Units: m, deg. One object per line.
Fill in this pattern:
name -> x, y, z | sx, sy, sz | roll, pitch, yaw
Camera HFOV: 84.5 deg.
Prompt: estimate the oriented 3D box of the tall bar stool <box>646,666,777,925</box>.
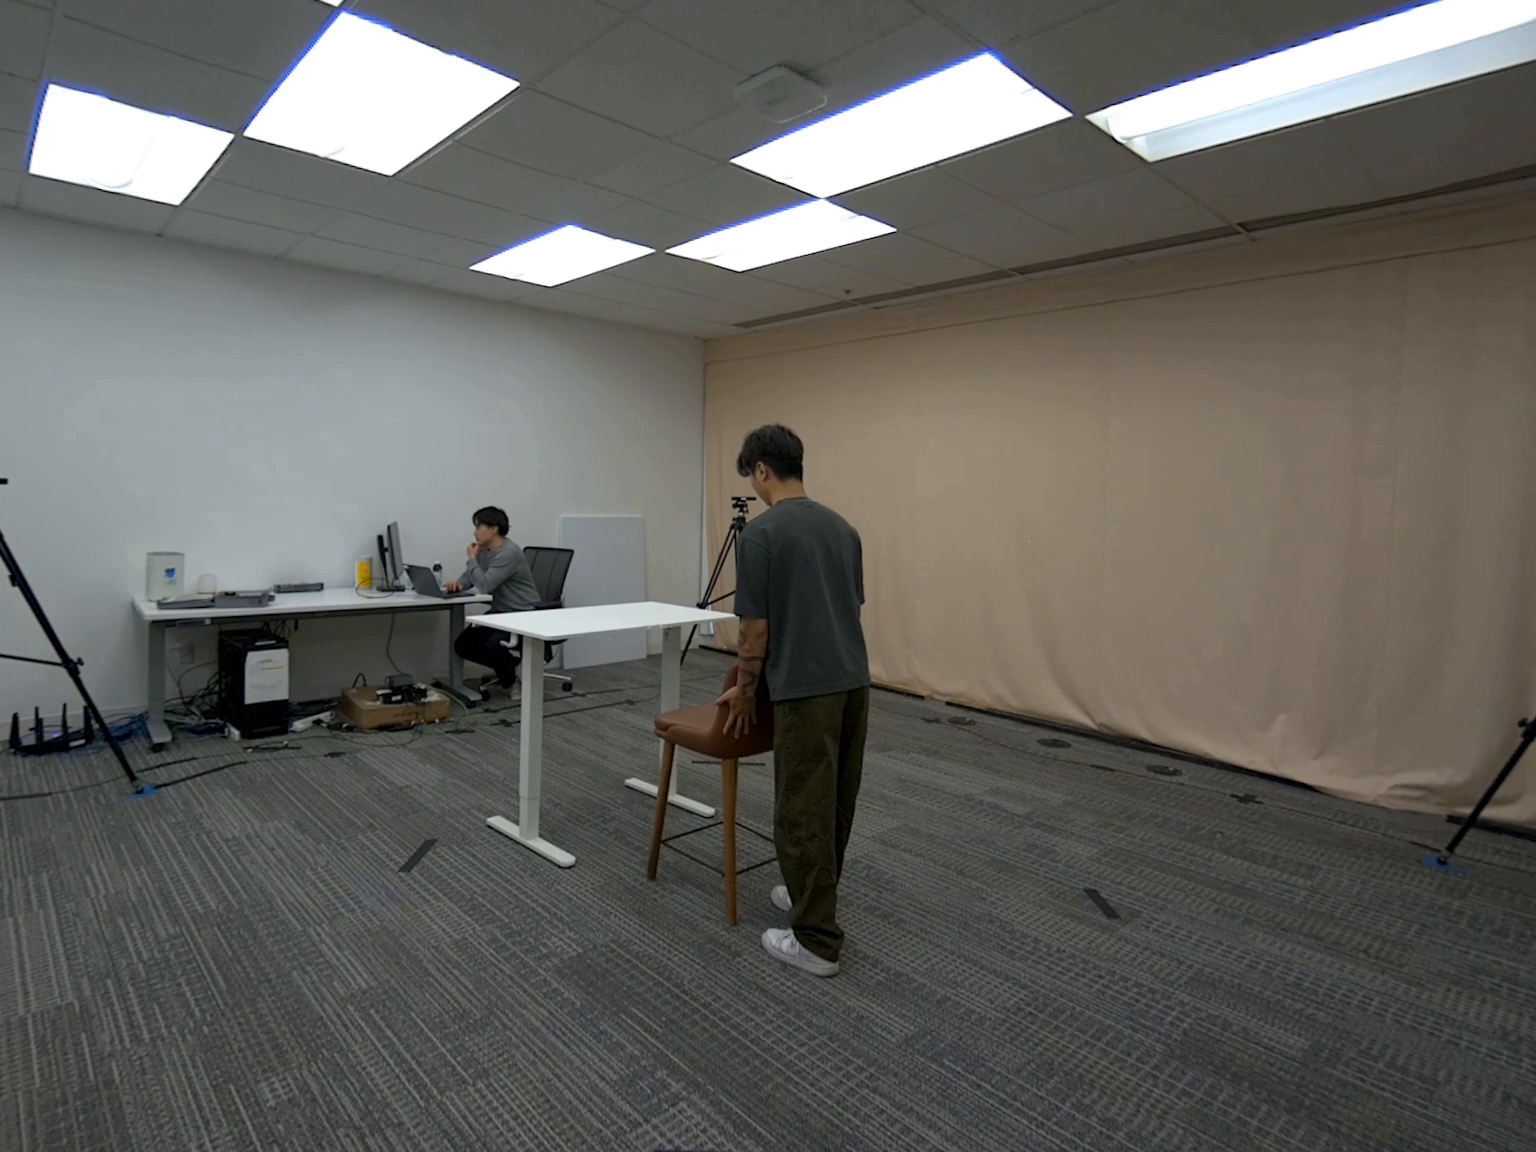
tall bar stool -> -0.133, 0.681, 3.004 | 0.446, 0.887, 0.480 | -1, 6, -43
